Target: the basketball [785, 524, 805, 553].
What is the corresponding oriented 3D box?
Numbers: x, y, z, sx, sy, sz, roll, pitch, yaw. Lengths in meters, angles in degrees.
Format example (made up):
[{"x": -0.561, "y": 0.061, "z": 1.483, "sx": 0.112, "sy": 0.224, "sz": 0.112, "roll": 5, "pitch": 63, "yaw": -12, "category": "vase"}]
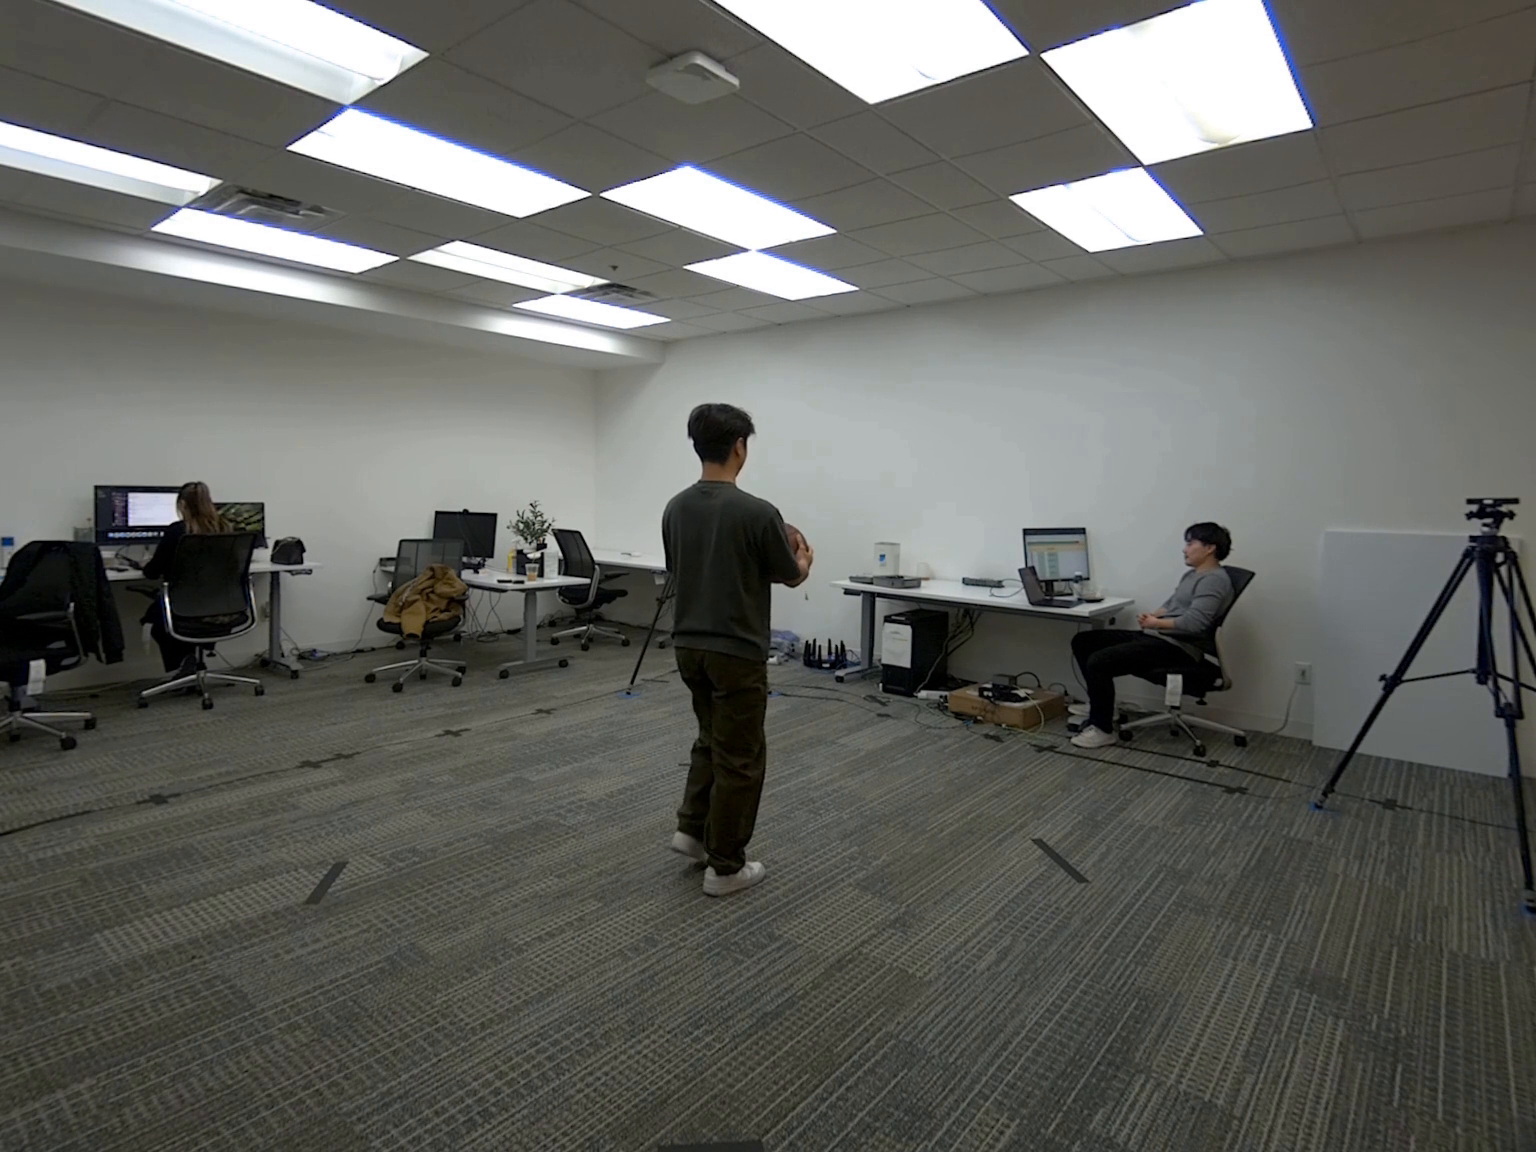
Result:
[{"x": 0.026, "y": -0.094, "z": 3.286, "sx": 0.235, "sy": 0.235, "sz": 0.237, "roll": 1, "pitch": 4, "yaw": -2, "category": "basketball"}]
